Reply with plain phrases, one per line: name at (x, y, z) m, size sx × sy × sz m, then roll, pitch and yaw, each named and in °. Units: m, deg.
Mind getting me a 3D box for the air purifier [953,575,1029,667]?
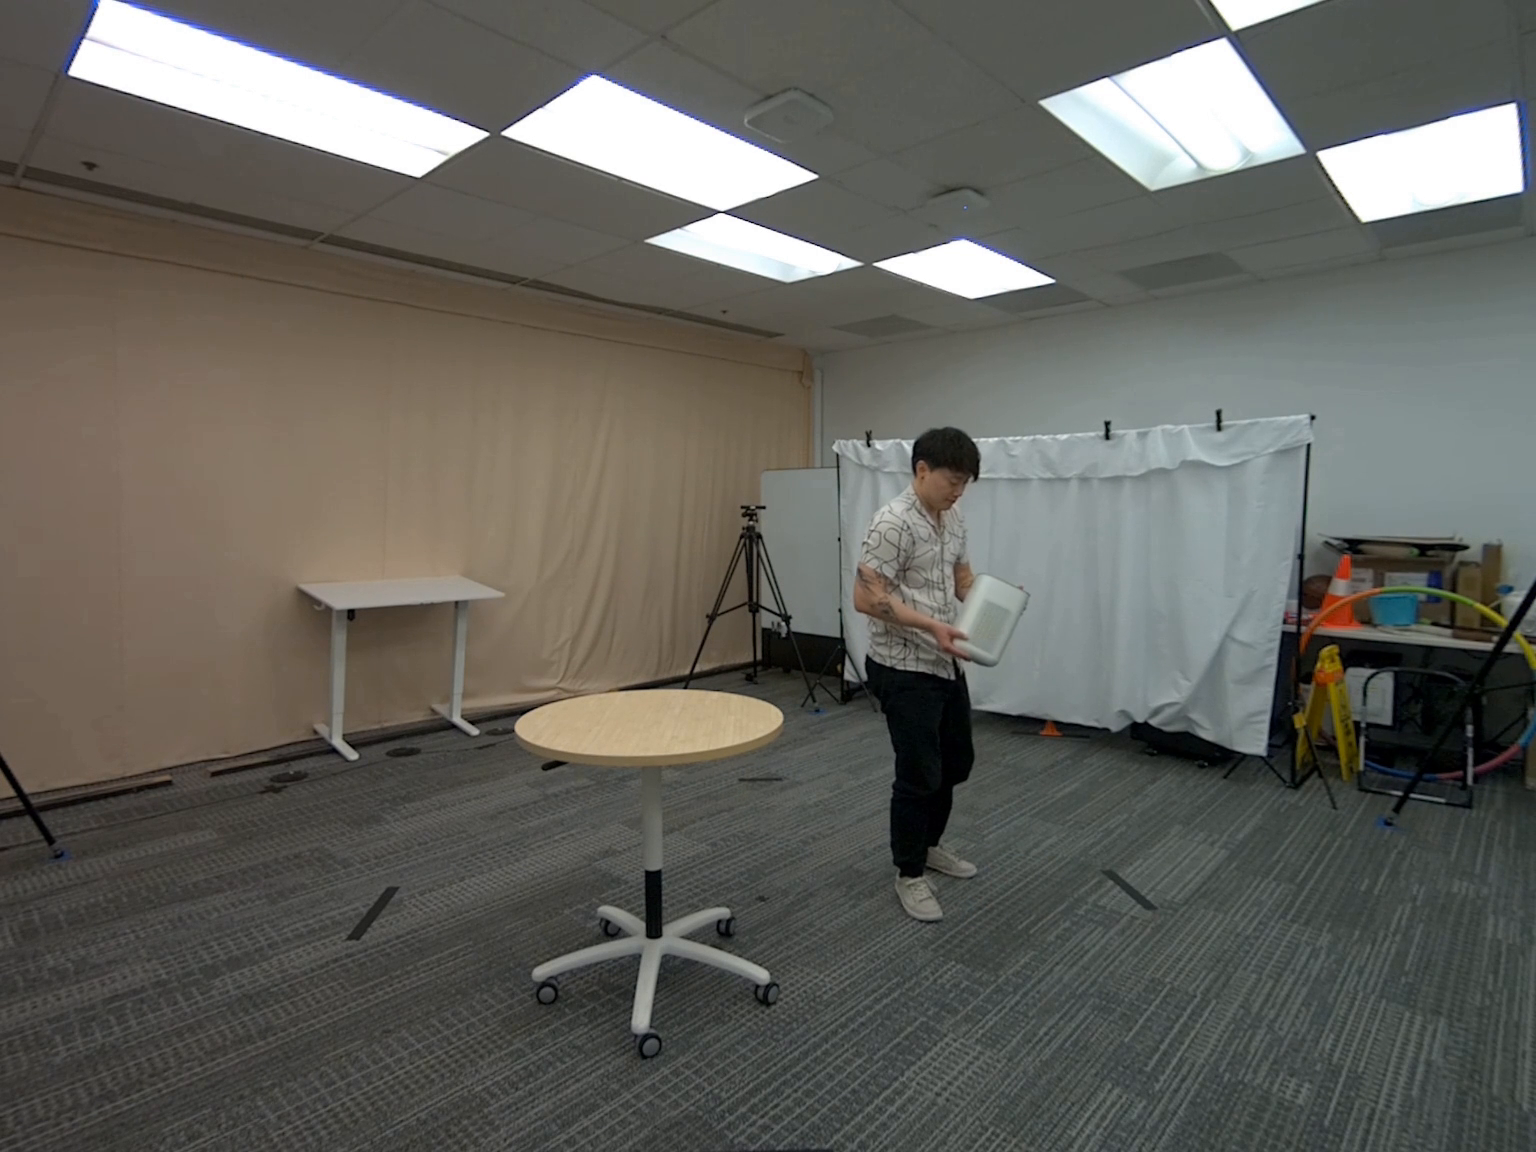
air purifier at (0.705, 0.151, 2.742) m, size 0.173 × 0.265 × 0.170 m, roll 26°, pitch -4°, yaw 3°
